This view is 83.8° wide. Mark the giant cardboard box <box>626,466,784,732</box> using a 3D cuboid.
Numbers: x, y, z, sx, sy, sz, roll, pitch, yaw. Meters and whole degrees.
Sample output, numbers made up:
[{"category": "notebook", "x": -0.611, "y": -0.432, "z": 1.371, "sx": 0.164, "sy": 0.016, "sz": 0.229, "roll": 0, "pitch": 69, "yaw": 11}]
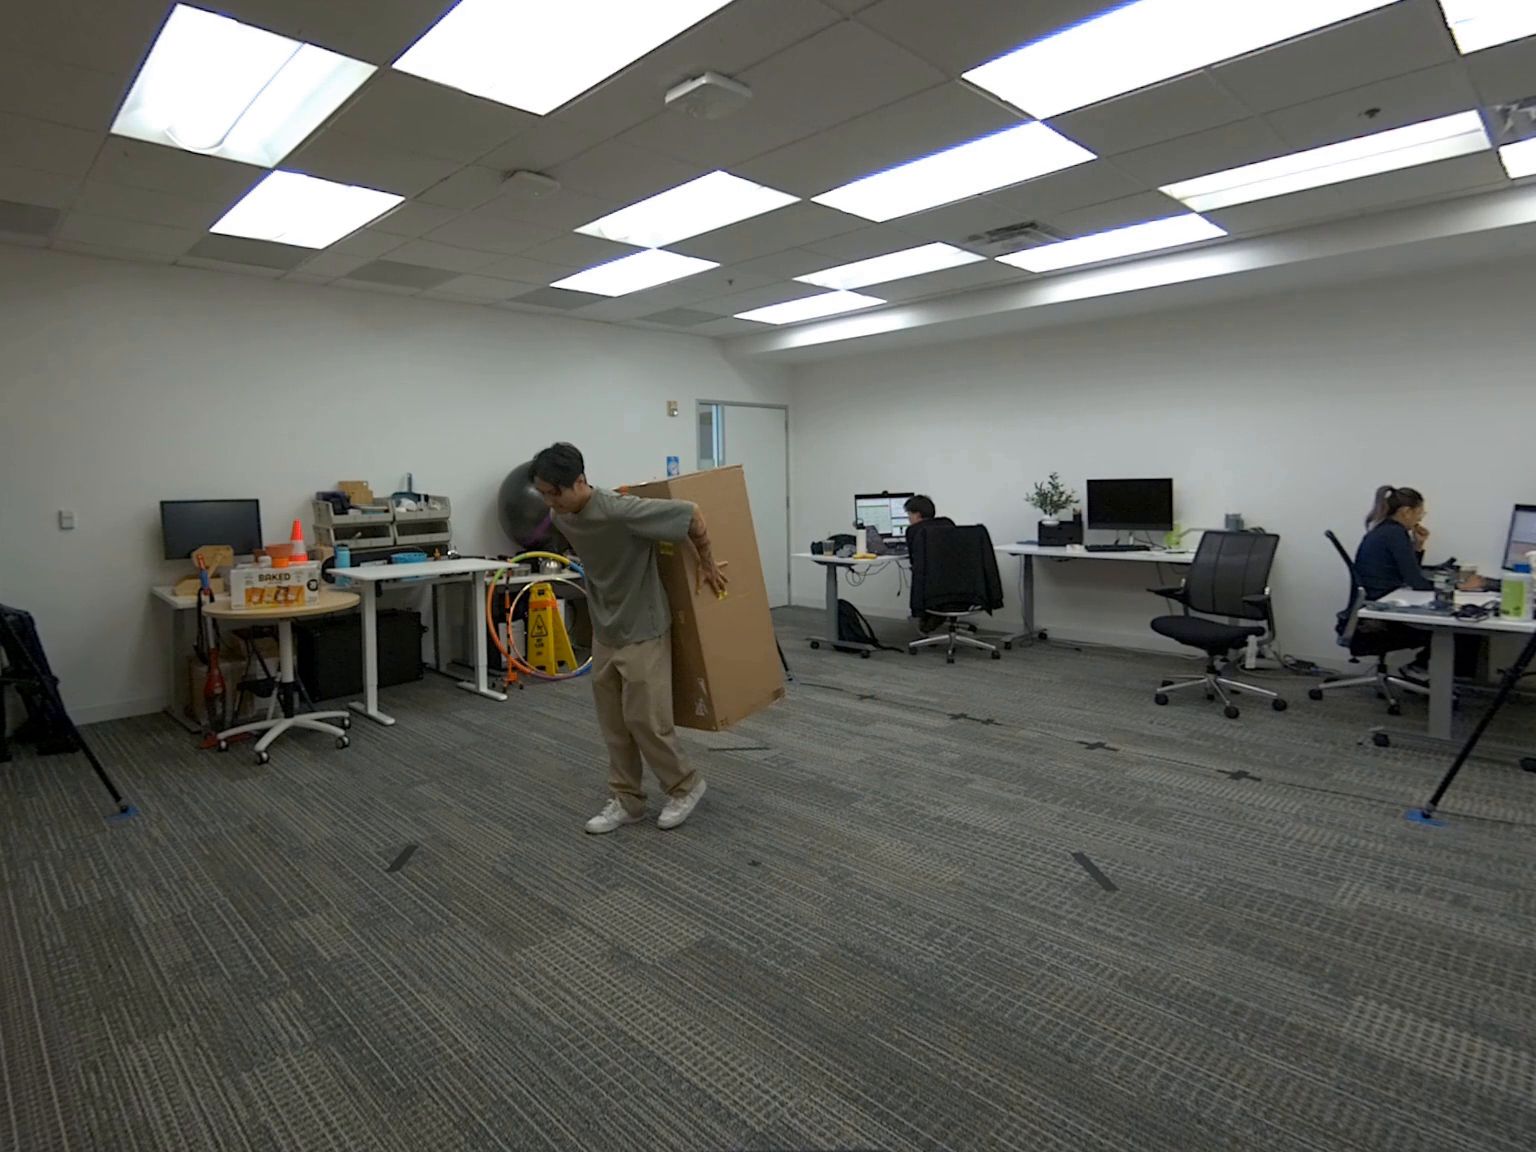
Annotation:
[{"category": "giant cardboard box", "x": -0.351, "y": 0.086, "z": 3.689, "sx": 0.593, "sy": 1.020, "sz": 0.417, "roll": -4, "pitch": 8, "yaw": 45}]
